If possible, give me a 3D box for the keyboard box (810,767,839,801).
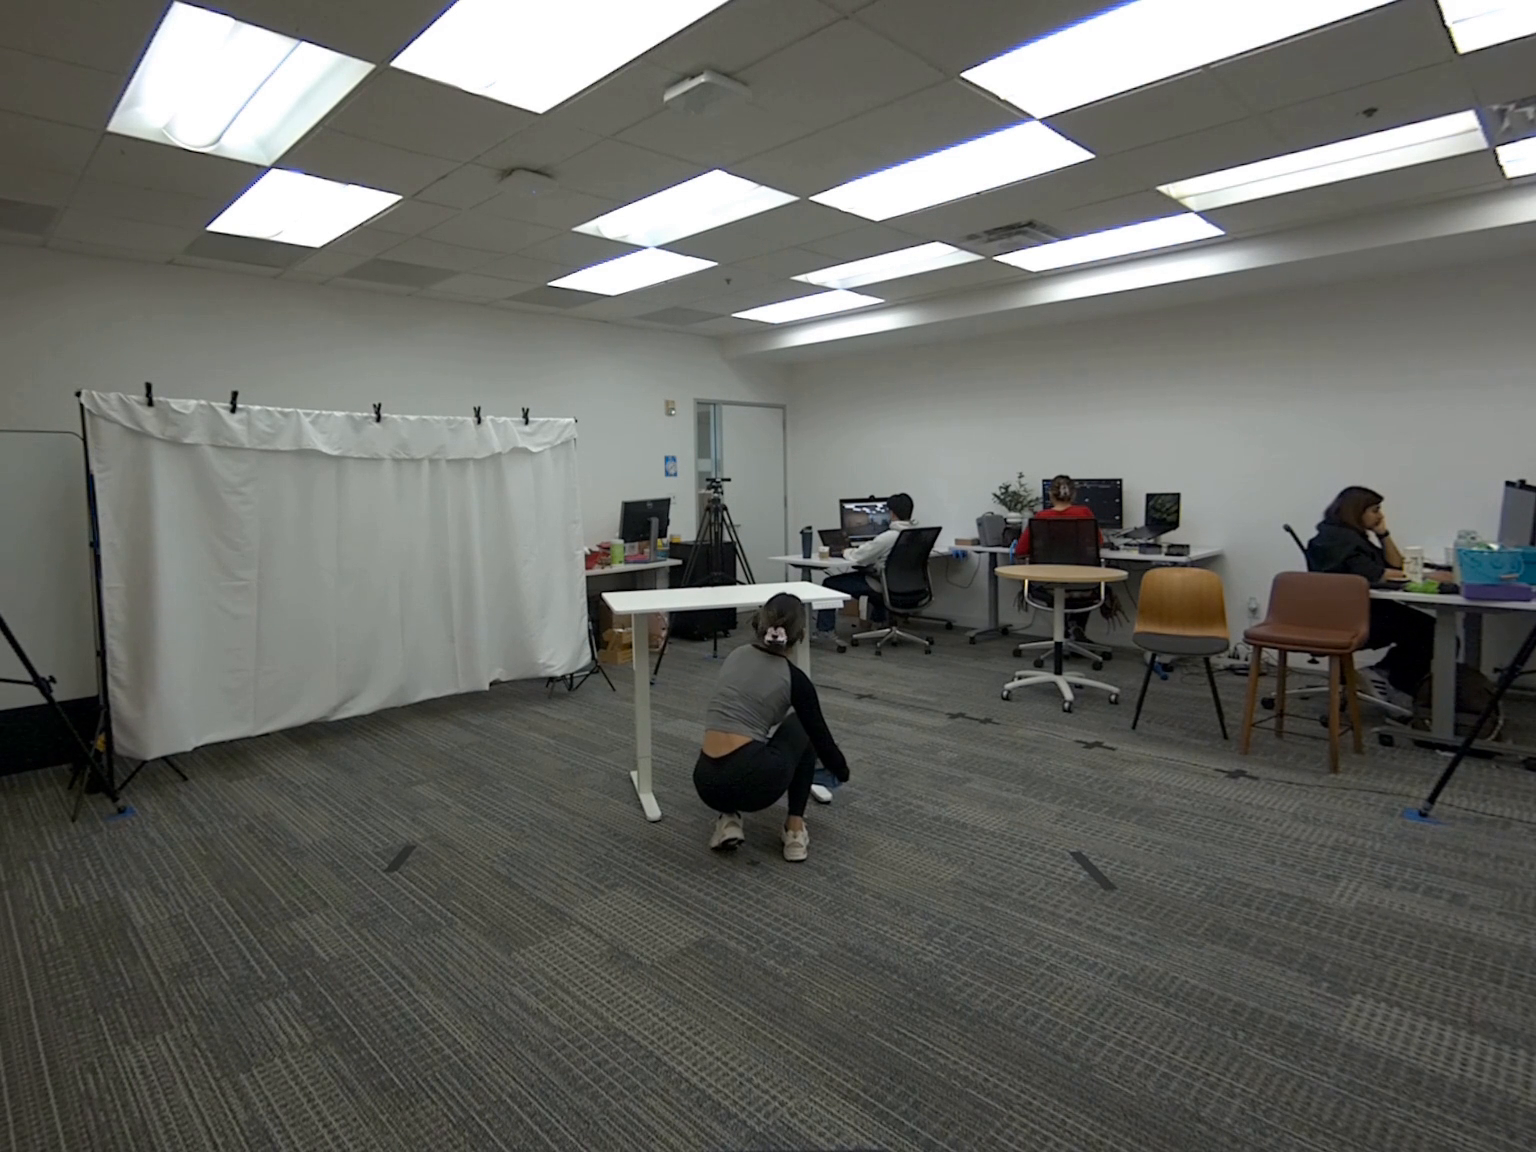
[{"bbox_3d":[0.121,0.775,3.577,0.057,0.176,0.448,-3,0,-44],"label":"keyboard box"}]
